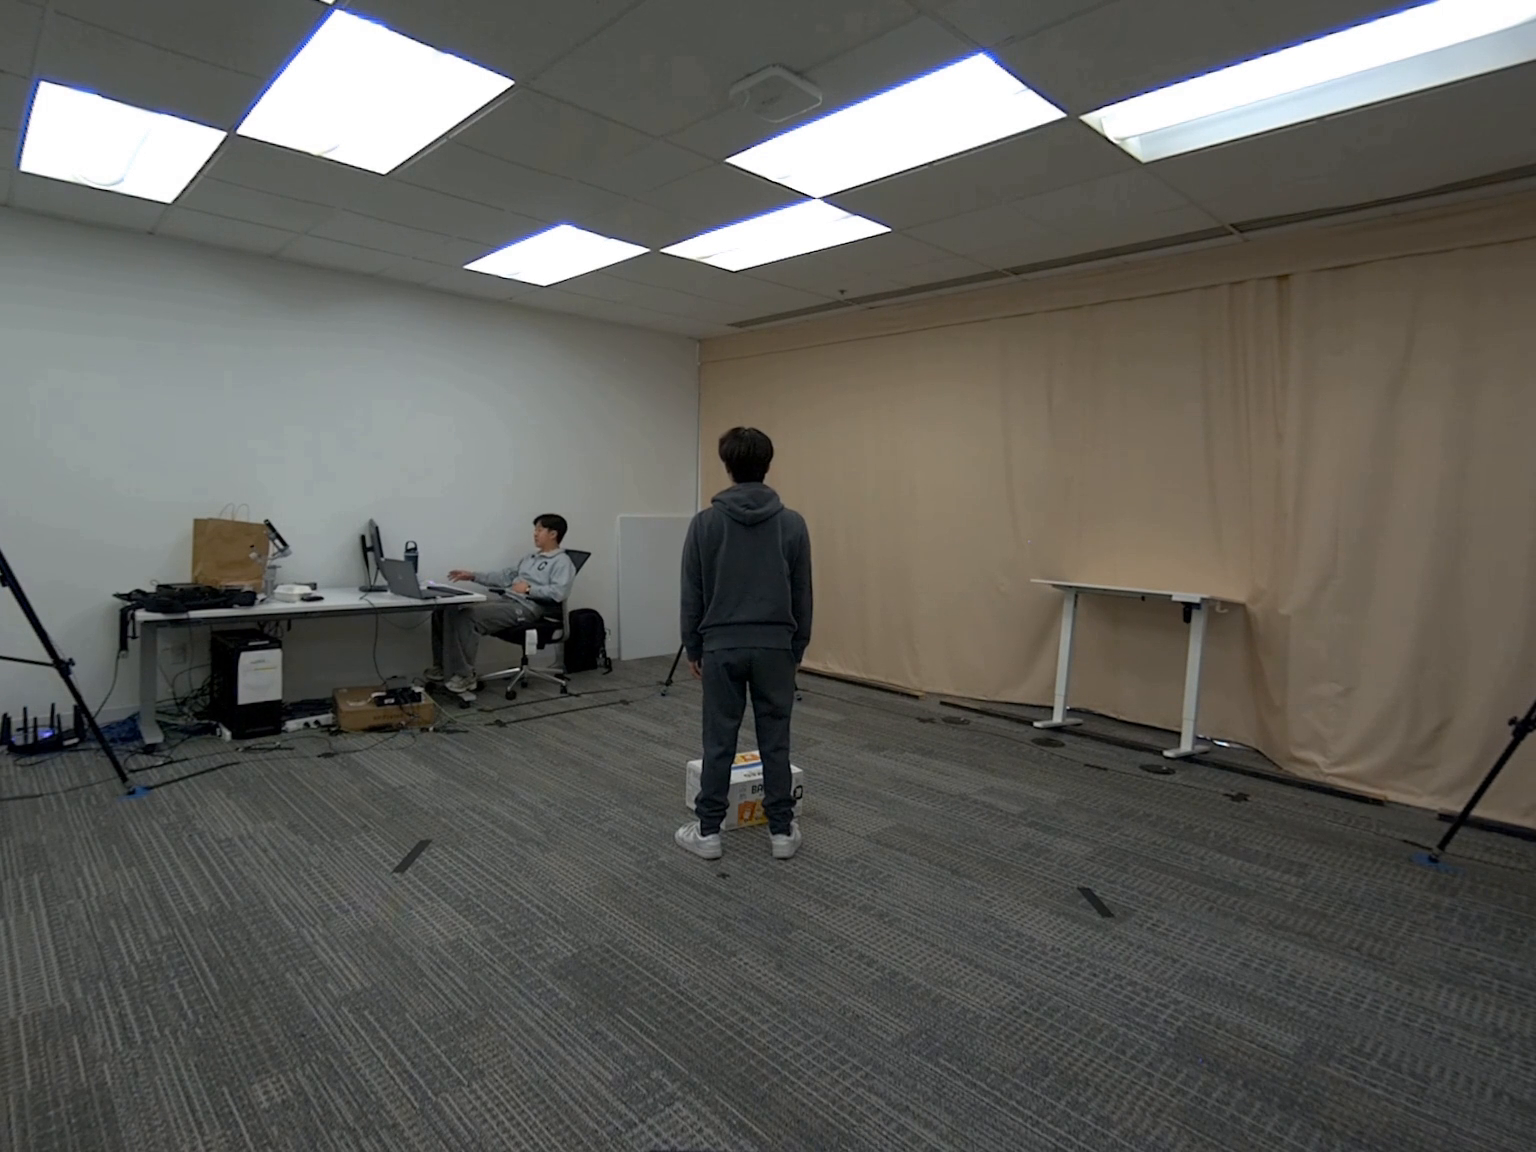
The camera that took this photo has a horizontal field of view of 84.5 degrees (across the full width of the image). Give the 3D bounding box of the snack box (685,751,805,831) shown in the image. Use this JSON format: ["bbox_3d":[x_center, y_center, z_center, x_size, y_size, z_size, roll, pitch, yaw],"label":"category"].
[{"bbox_3d":[-0.111,0.945,3.755,0.396,0.205,0.348,-2,6,-33],"label":"snack box"}]
